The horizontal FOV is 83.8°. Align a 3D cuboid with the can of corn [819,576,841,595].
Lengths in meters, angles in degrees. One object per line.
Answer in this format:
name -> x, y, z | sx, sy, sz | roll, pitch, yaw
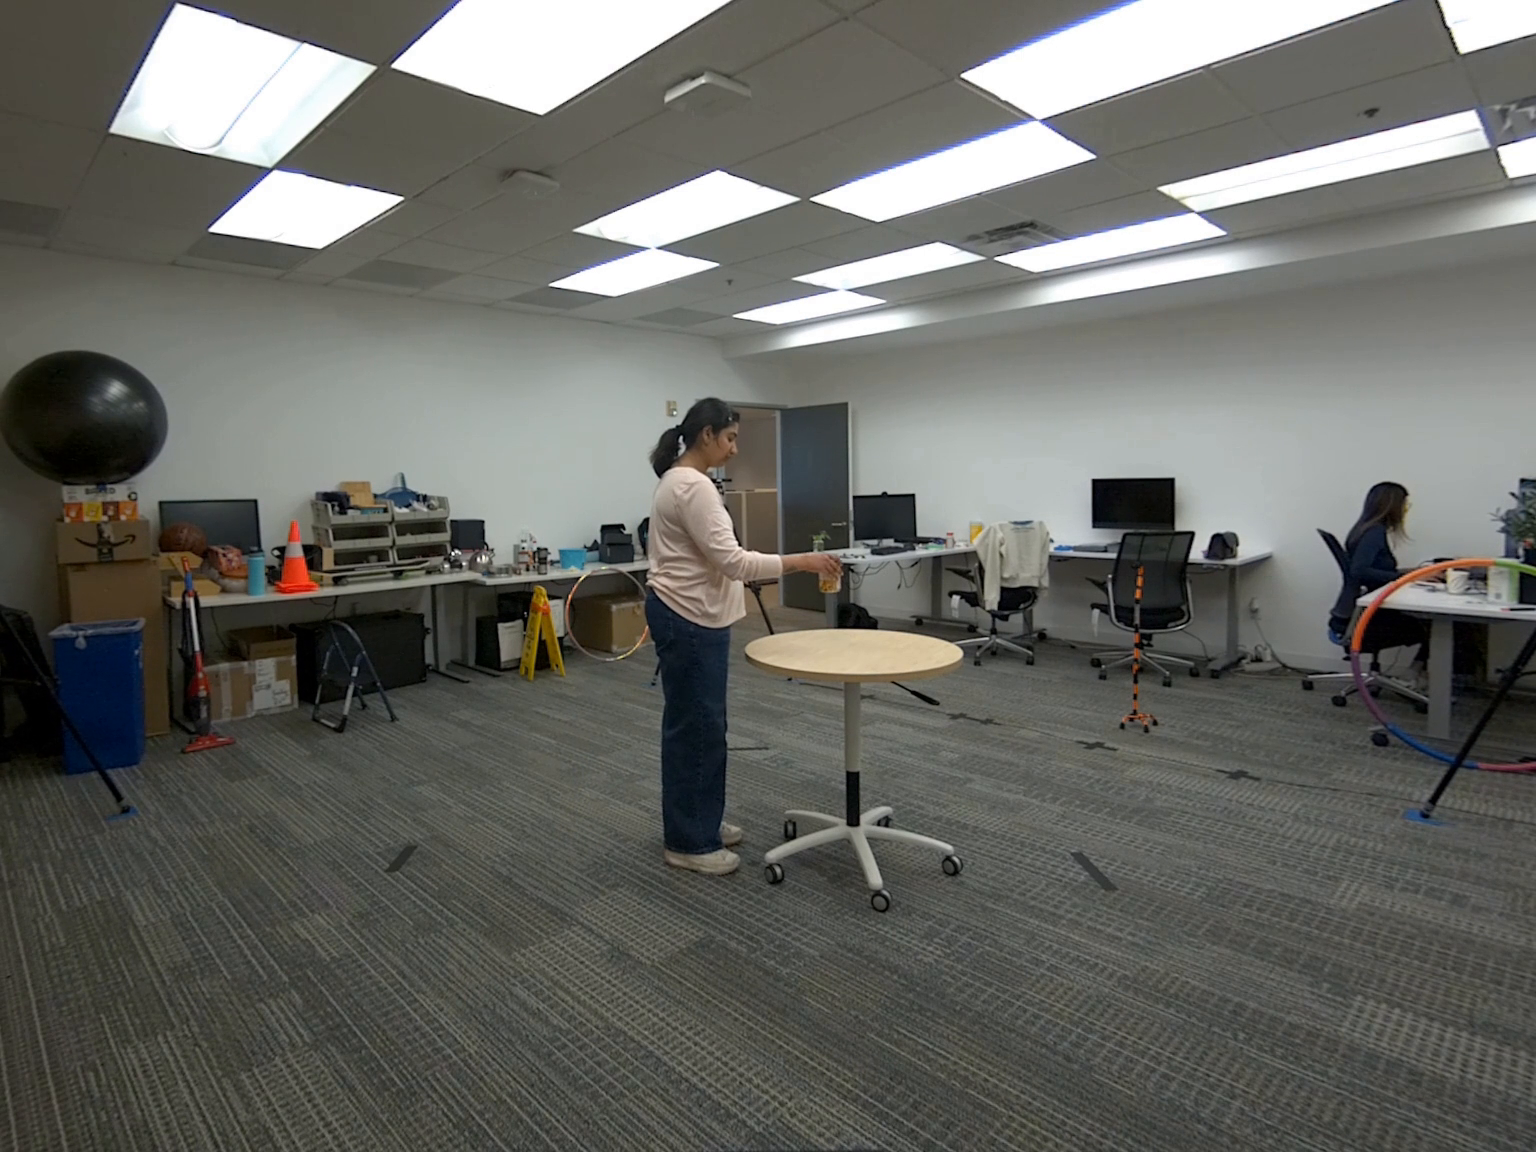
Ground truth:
can of corn -> 0.218, 0.004, 3.035 | 0.074, 0.110, 0.075 | -4, 7, -1
